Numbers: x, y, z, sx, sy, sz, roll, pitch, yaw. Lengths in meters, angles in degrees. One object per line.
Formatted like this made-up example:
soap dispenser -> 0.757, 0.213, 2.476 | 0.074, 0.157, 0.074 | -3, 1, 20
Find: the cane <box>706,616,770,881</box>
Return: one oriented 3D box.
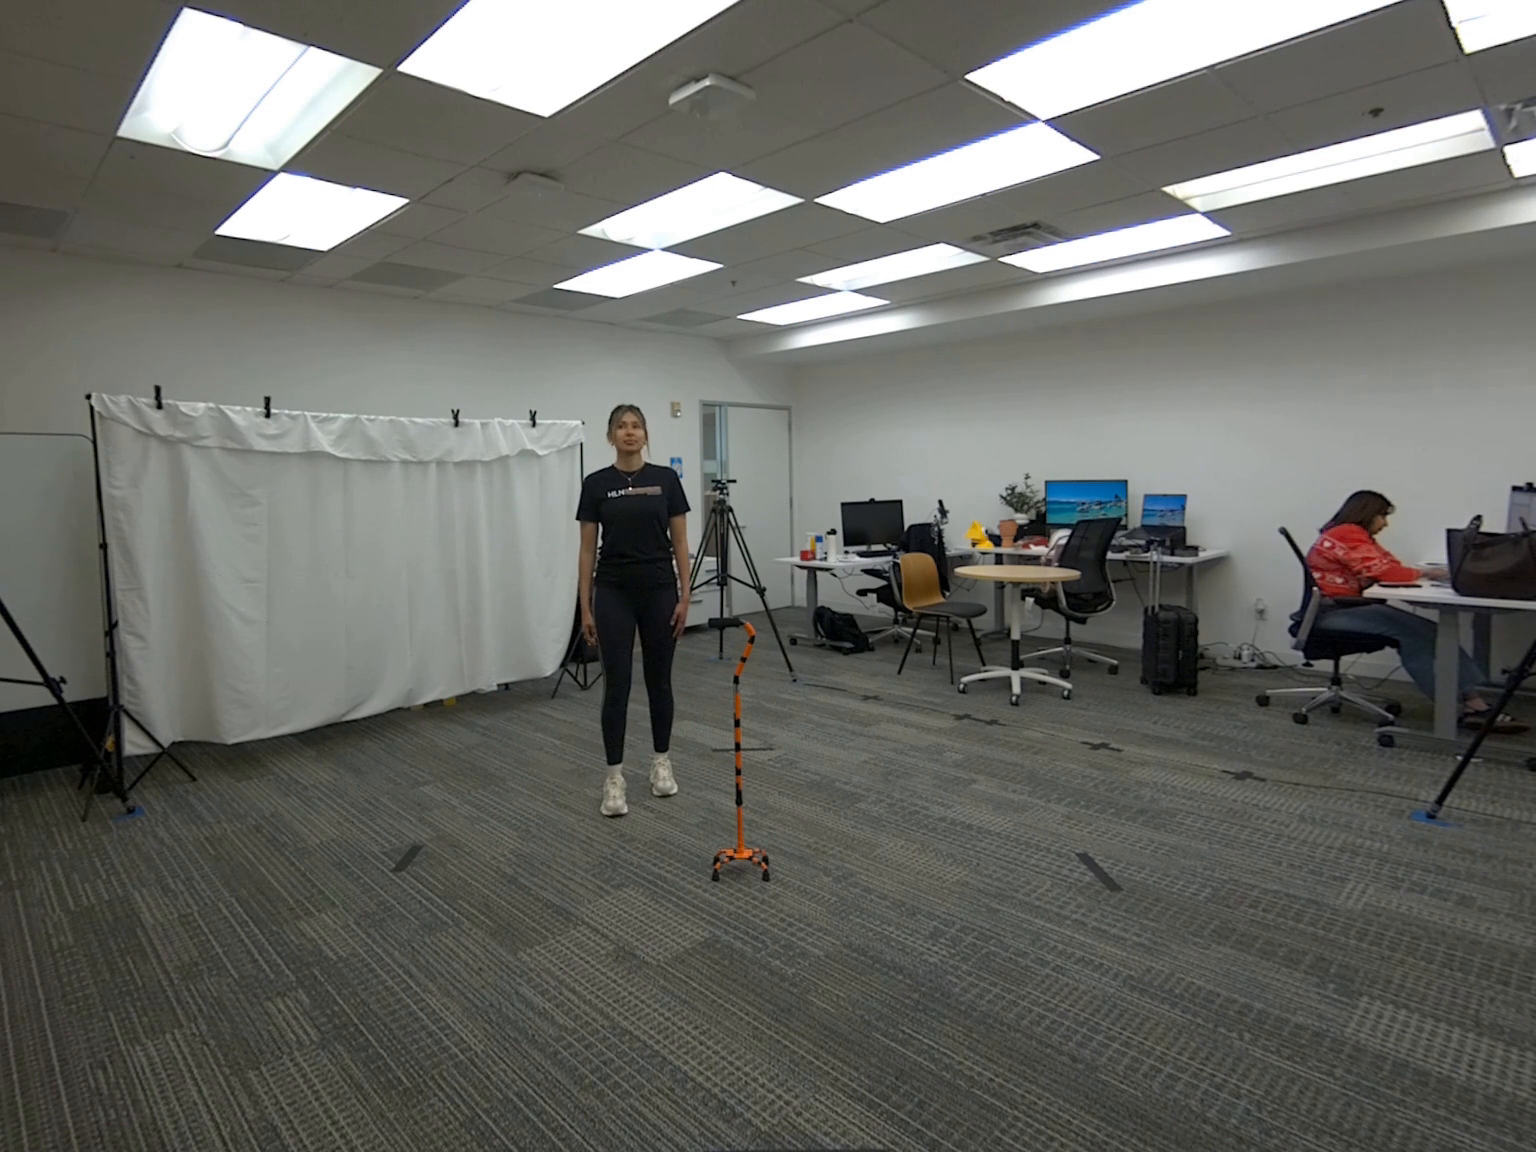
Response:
cane -> -0.099, 0.605, 3.018 | 0.206, 0.905, 0.152 | -1, 3, -1
